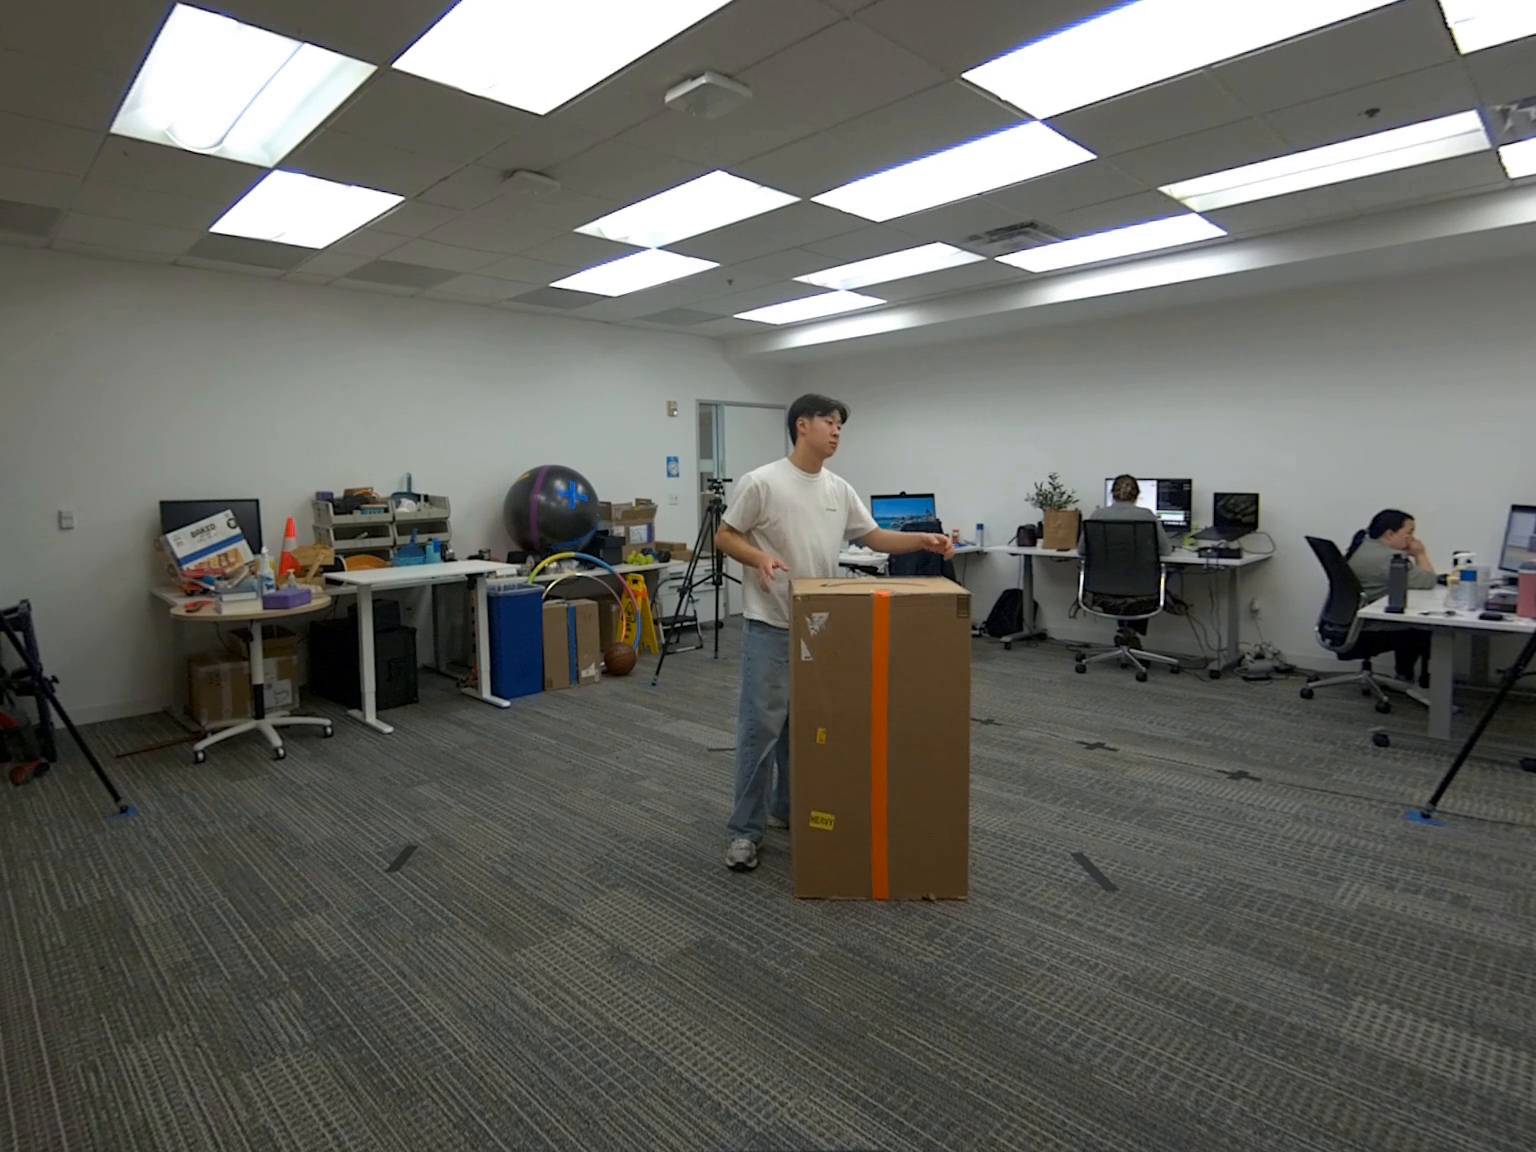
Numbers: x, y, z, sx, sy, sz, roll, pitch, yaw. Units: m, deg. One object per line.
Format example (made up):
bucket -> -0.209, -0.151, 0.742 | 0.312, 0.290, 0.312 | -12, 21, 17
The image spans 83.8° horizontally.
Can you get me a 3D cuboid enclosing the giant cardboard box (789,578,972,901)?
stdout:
giant cardboard box -> 0.374, 0.538, 2.996 | 0.578, 1.022, 0.427 | -1, 4, 1
